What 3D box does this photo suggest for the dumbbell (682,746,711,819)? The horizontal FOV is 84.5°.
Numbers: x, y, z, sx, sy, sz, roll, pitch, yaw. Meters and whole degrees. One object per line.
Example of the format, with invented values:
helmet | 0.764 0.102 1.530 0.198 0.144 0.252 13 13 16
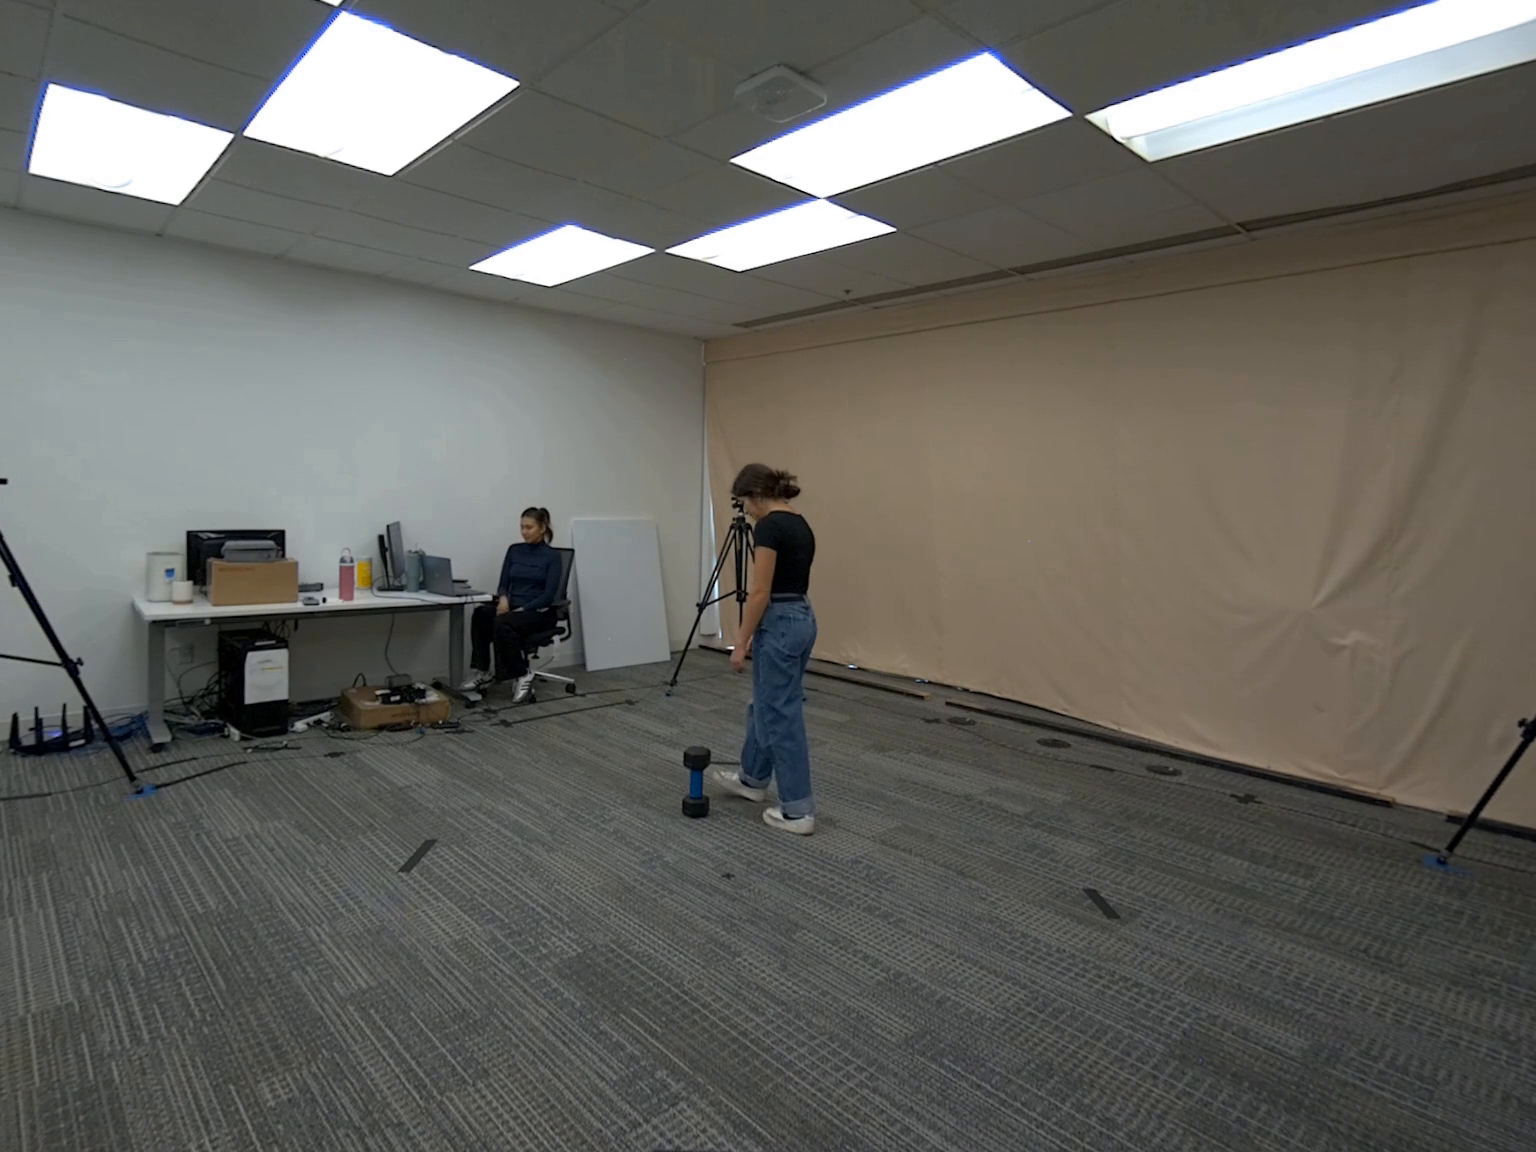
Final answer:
dumbbell | -0.319 0.901 3.699 0.121 0.293 0.110 1 4 -14
